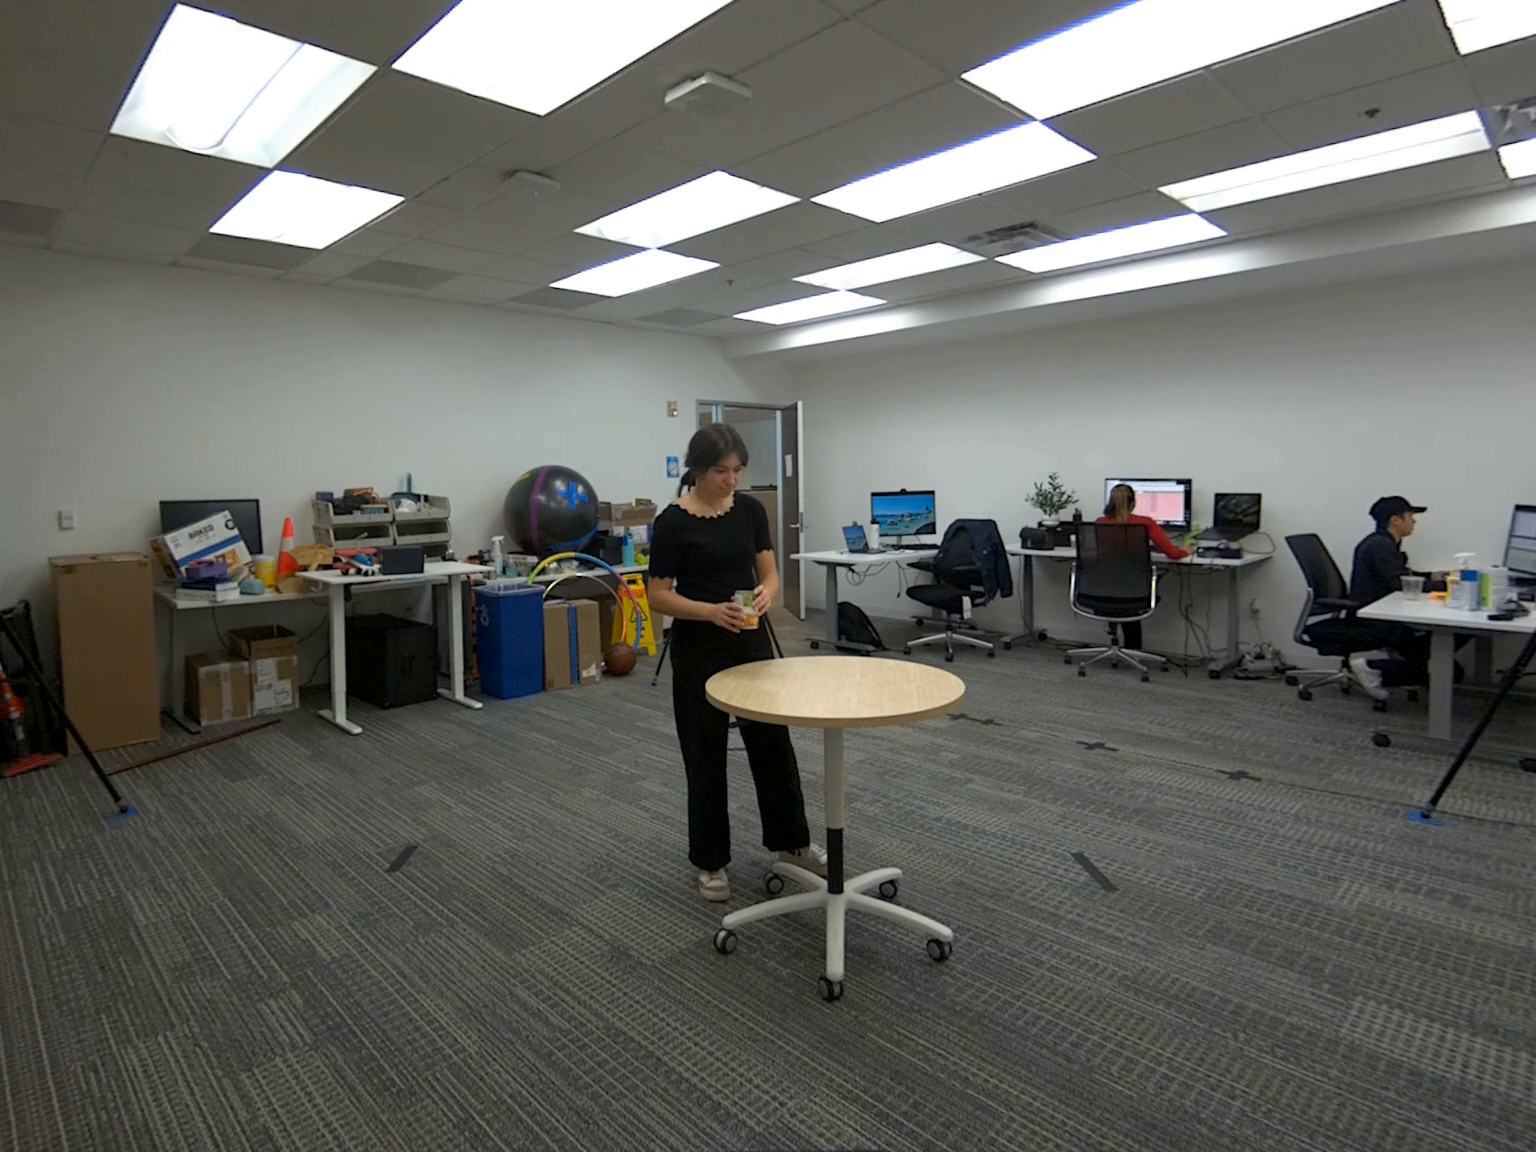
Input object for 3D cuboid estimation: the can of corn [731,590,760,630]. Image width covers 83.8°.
[{"bbox_3d":[-0.067,0.107,2.657,0.074,0.111,0.074,-1,2,-2],"label":"can of corn"}]
